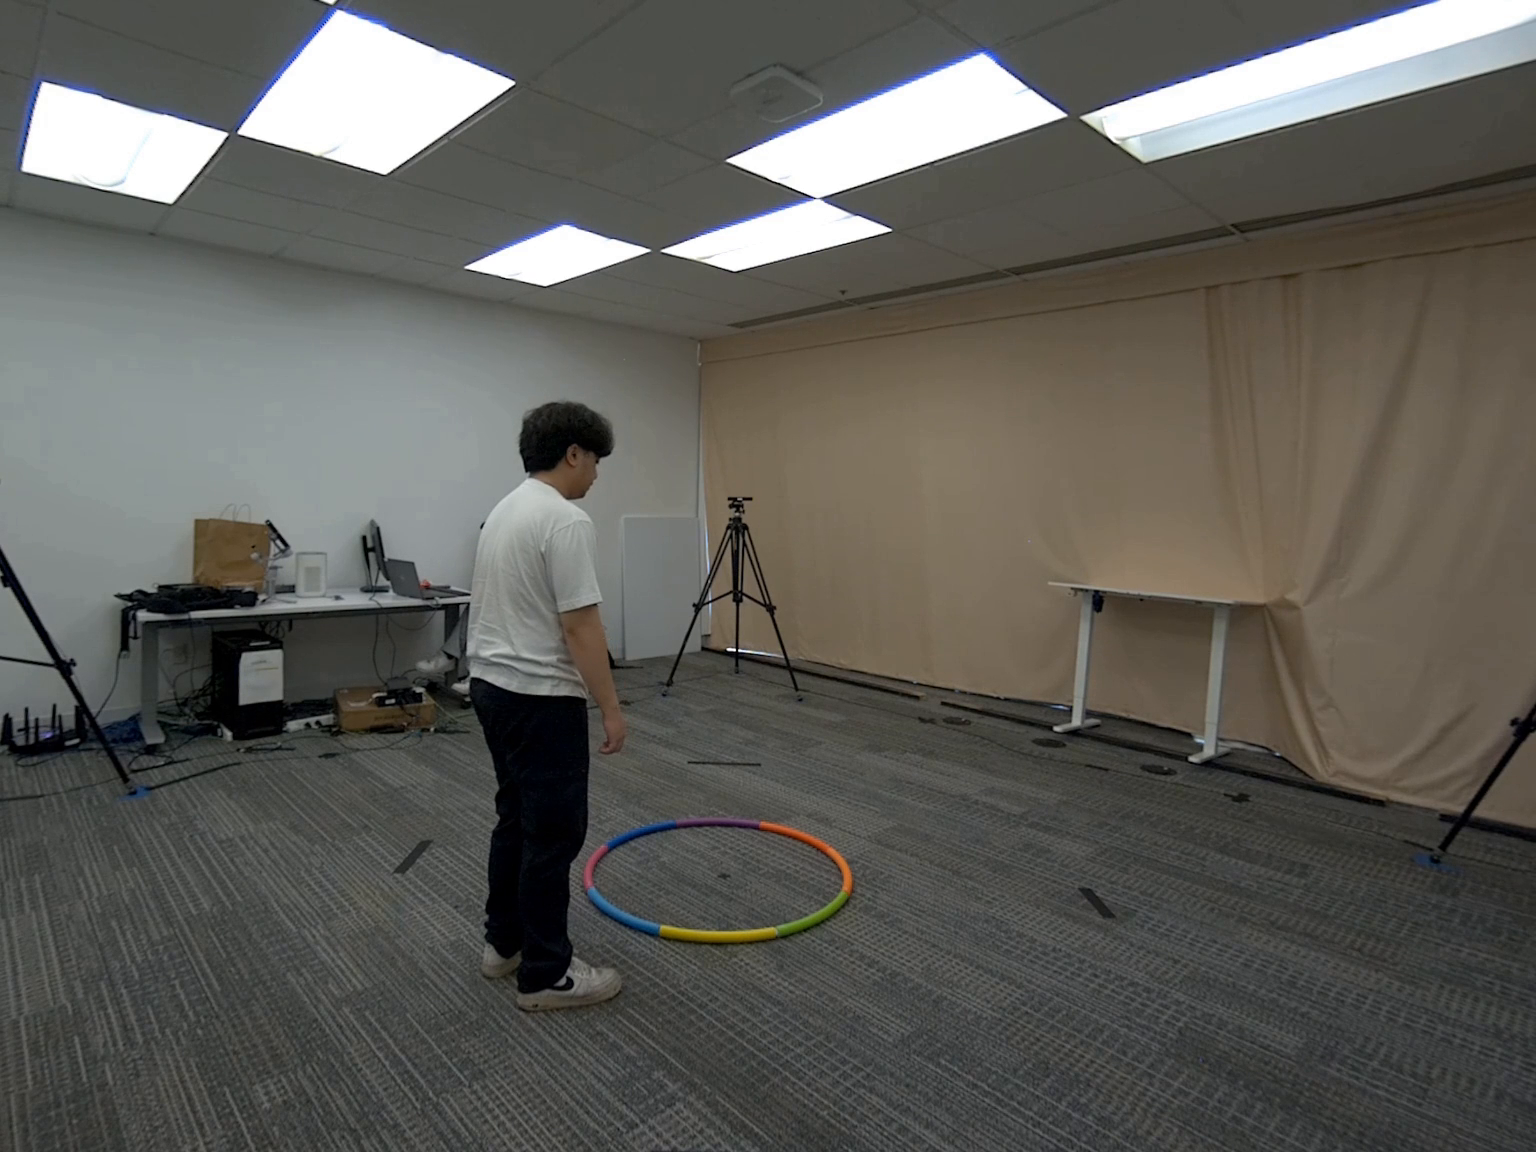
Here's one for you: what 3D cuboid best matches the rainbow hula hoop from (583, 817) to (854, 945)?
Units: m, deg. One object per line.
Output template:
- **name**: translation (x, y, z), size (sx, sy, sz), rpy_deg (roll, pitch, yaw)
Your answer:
- **rainbow hula hoop**: translation (-0.192, 1.081, 3.110), size (0.985, 0.051, 0.989), rpy_deg (1, 5, -1)
